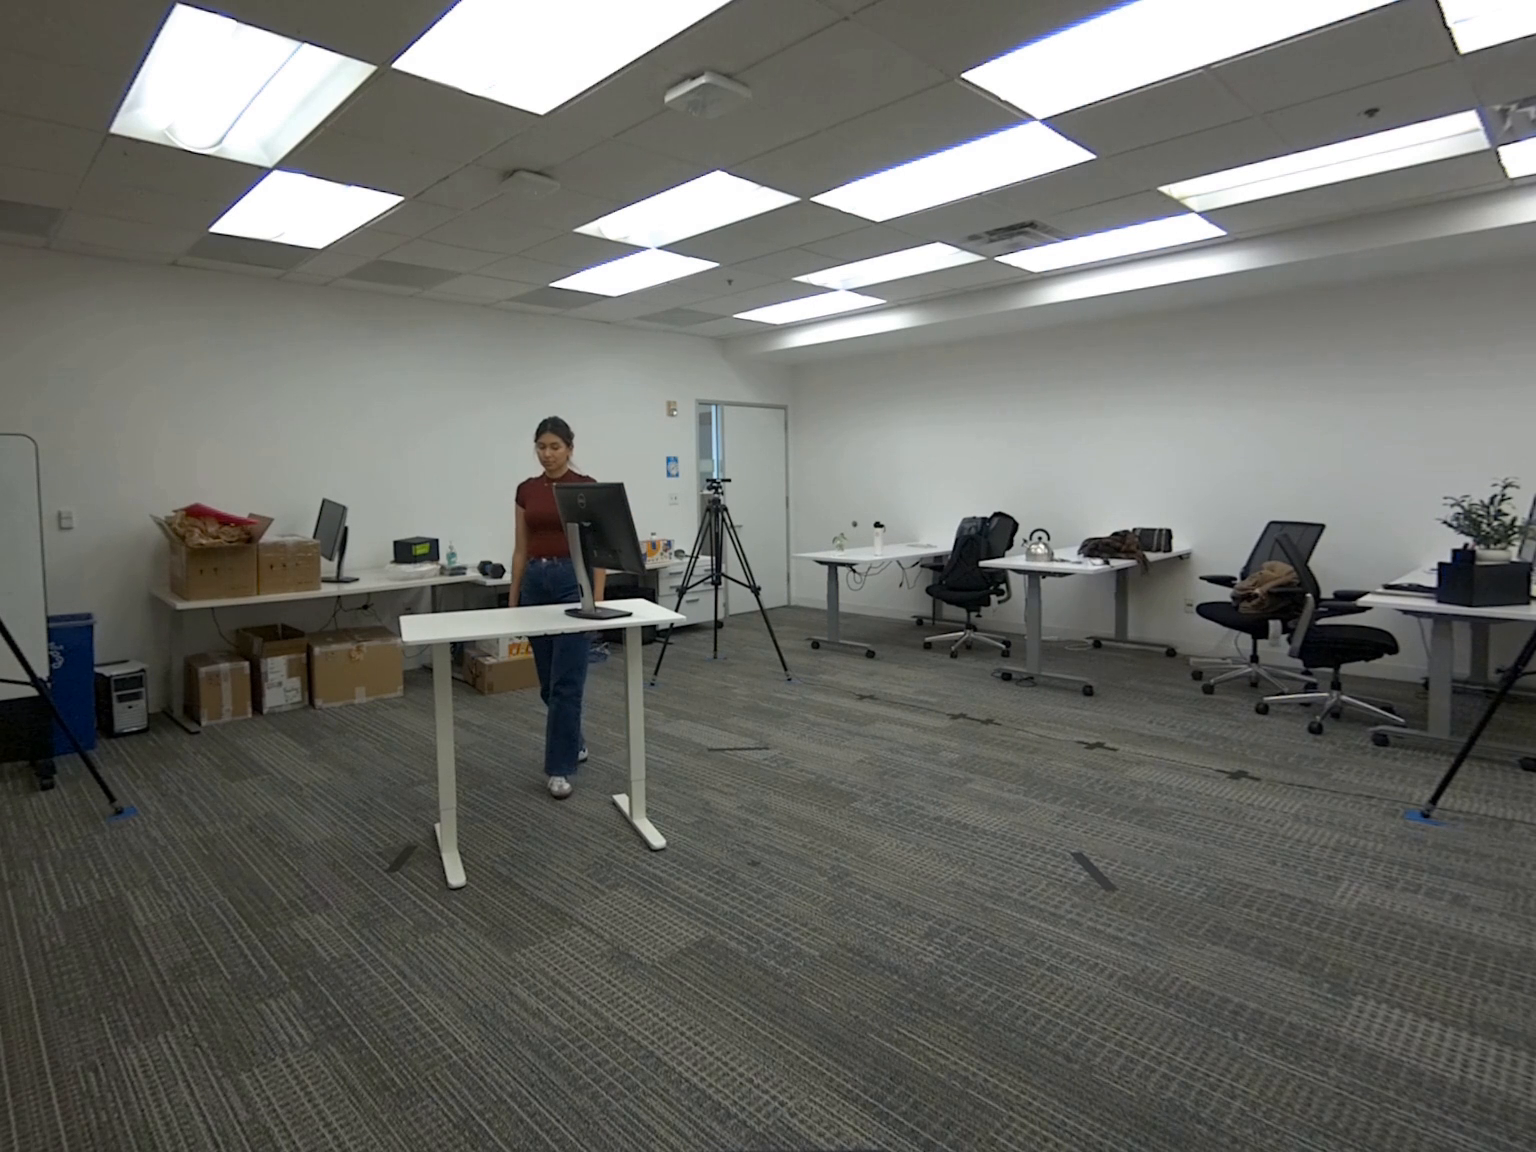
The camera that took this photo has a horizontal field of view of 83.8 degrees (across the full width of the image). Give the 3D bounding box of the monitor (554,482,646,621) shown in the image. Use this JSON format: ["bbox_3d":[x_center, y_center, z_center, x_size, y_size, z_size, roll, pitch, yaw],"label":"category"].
[{"bbox_3d":[-0.682,-0.099,3.307,0.182,0.520,0.556,-7,8,-41],"label":"monitor"}]
